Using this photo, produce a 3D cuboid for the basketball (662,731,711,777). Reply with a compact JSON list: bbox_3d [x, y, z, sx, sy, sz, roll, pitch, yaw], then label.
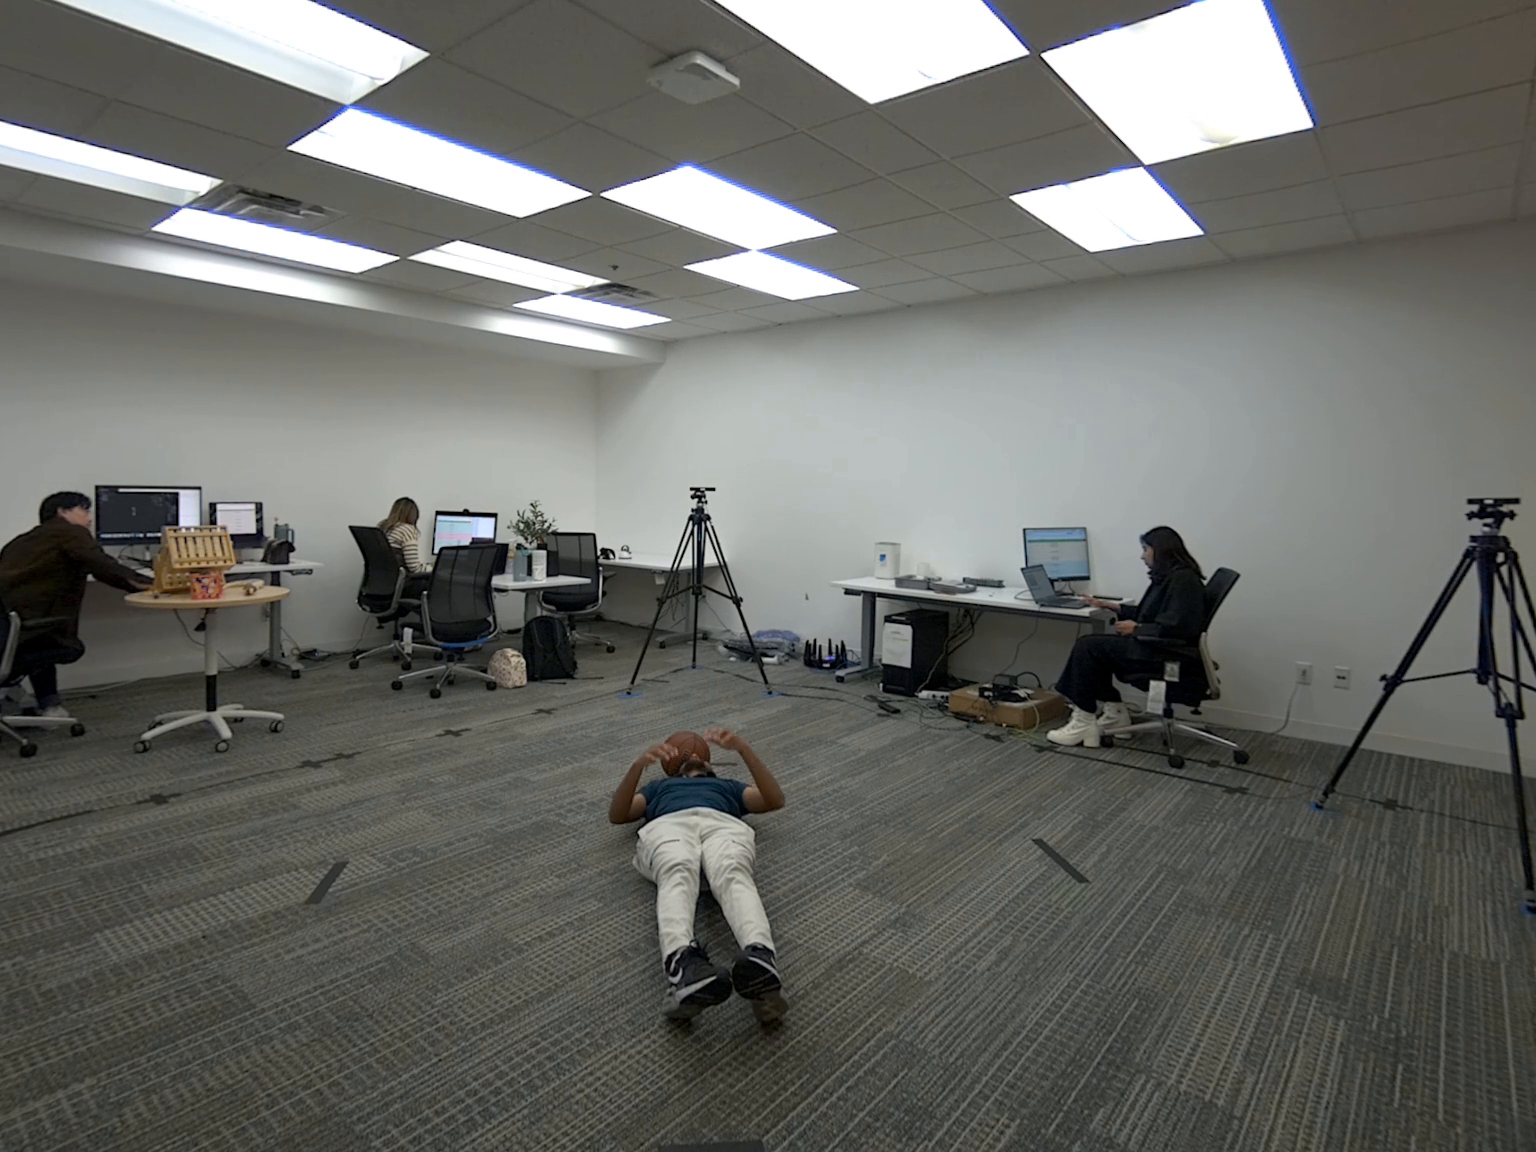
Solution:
[{"bbox_3d":[-0.404,0.852,4.037,0.235,0.235,0.237,1,4,-2],"label":"basketball"}]
